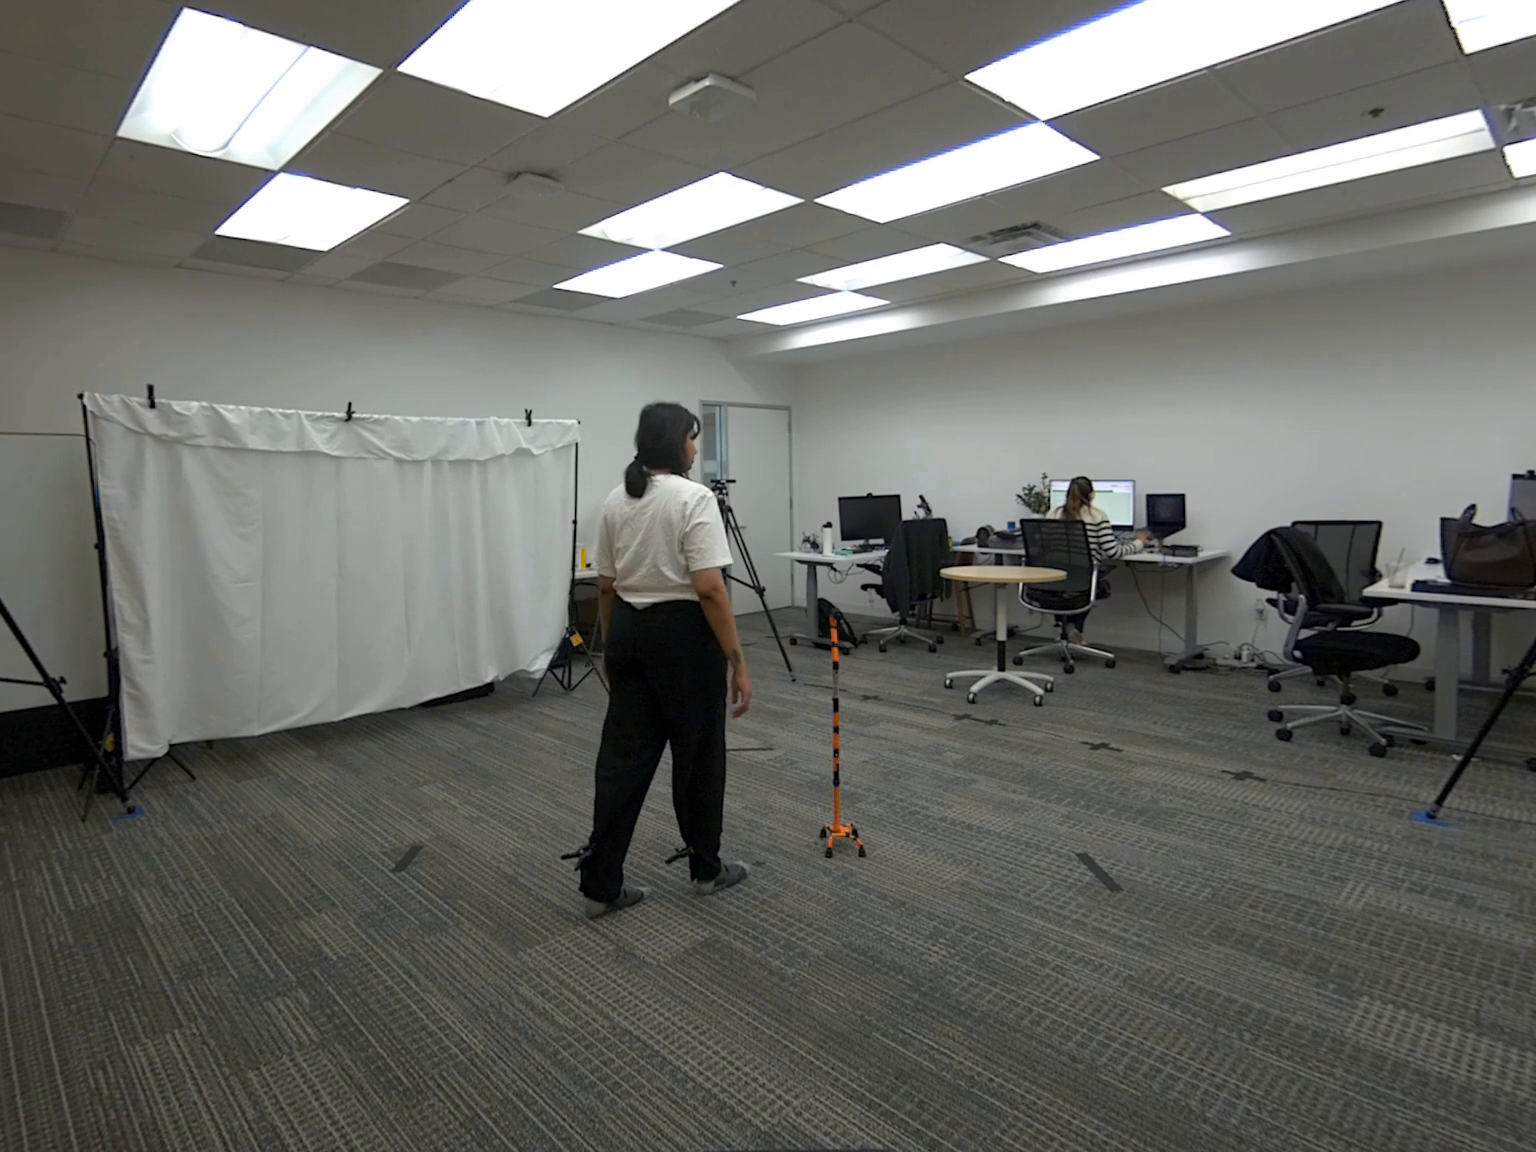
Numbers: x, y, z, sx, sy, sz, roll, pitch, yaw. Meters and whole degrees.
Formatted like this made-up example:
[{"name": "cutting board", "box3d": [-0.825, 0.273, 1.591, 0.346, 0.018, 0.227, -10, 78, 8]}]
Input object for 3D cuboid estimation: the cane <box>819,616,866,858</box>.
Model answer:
[{"name": "cane", "box3d": [0.273, 0.579, 3.218, 0.151, 0.905, 0.207, -2, 4, -2]}]
